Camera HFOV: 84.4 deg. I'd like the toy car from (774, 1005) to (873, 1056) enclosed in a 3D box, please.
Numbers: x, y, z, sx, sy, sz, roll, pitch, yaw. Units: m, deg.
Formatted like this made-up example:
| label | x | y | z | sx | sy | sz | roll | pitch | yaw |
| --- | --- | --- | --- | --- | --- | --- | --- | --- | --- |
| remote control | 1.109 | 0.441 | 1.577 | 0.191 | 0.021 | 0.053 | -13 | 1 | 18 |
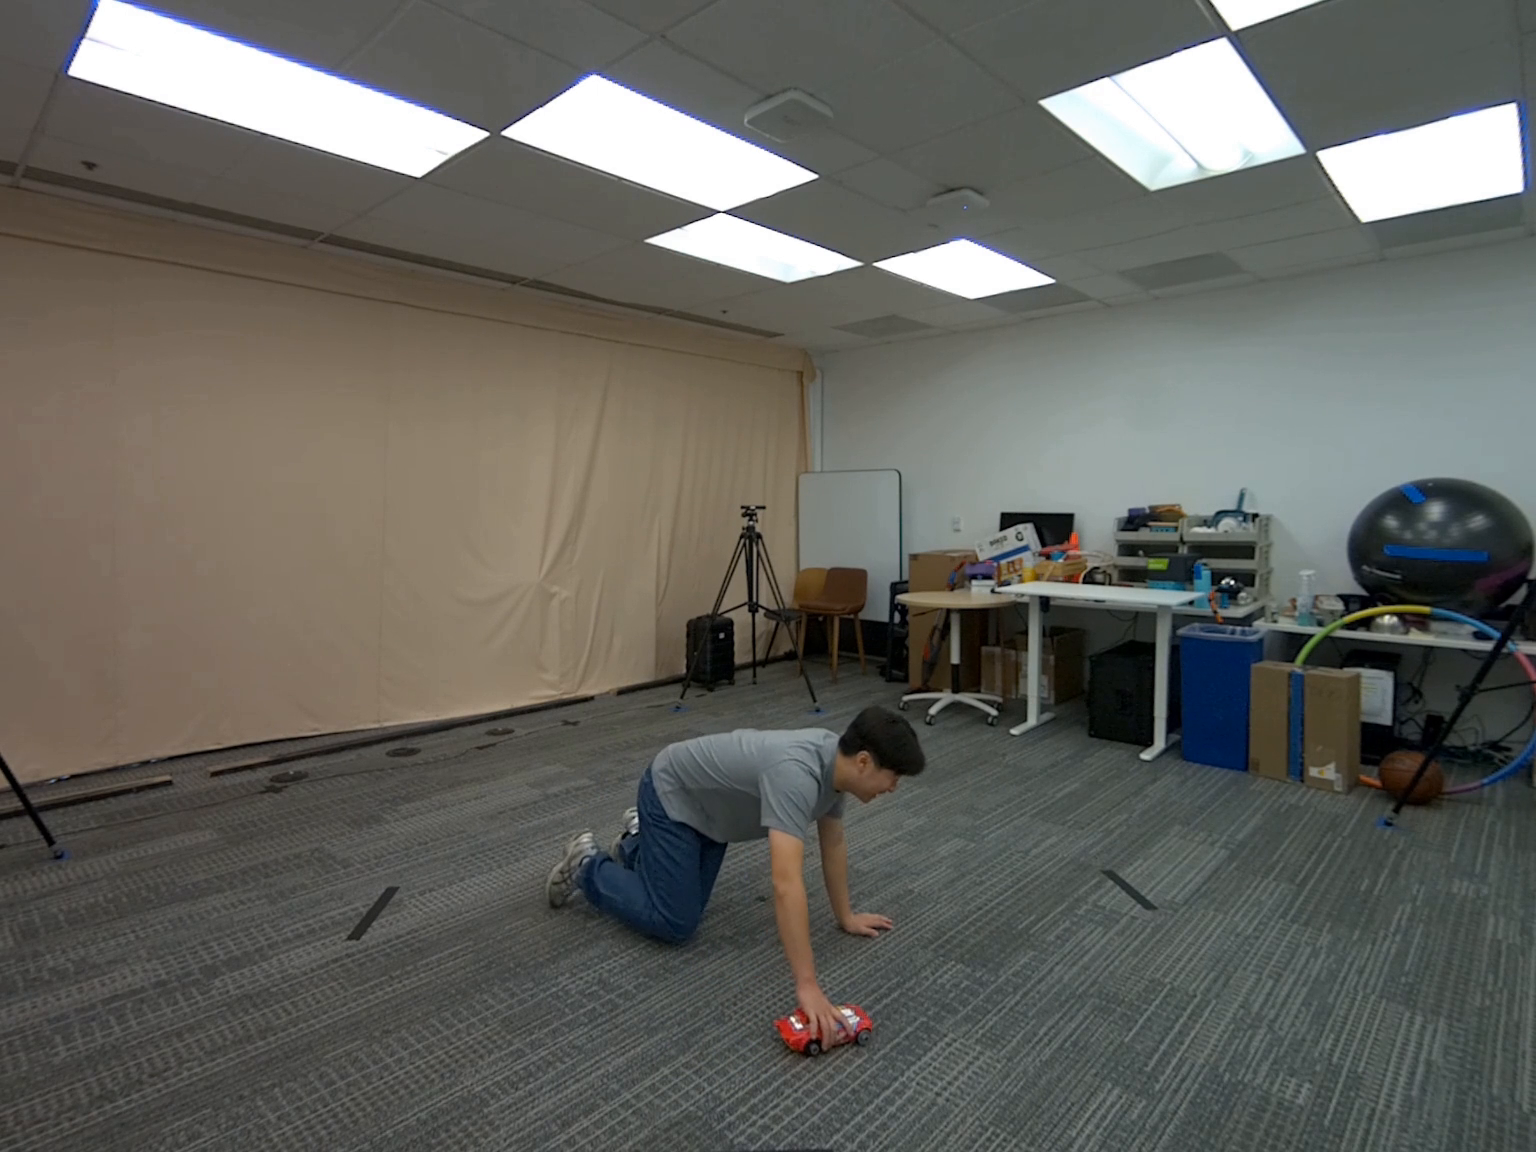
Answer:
| label | x | y | z | sx | sy | sz | roll | pitch | yaw |
| --- | --- | --- | --- | --- | --- | --- | --- | --- | --- |
| toy car | 0.147 | 1.185 | 2.183 | 0.249 | 0.083 | 0.133 | 11 | 0 | -20 |
